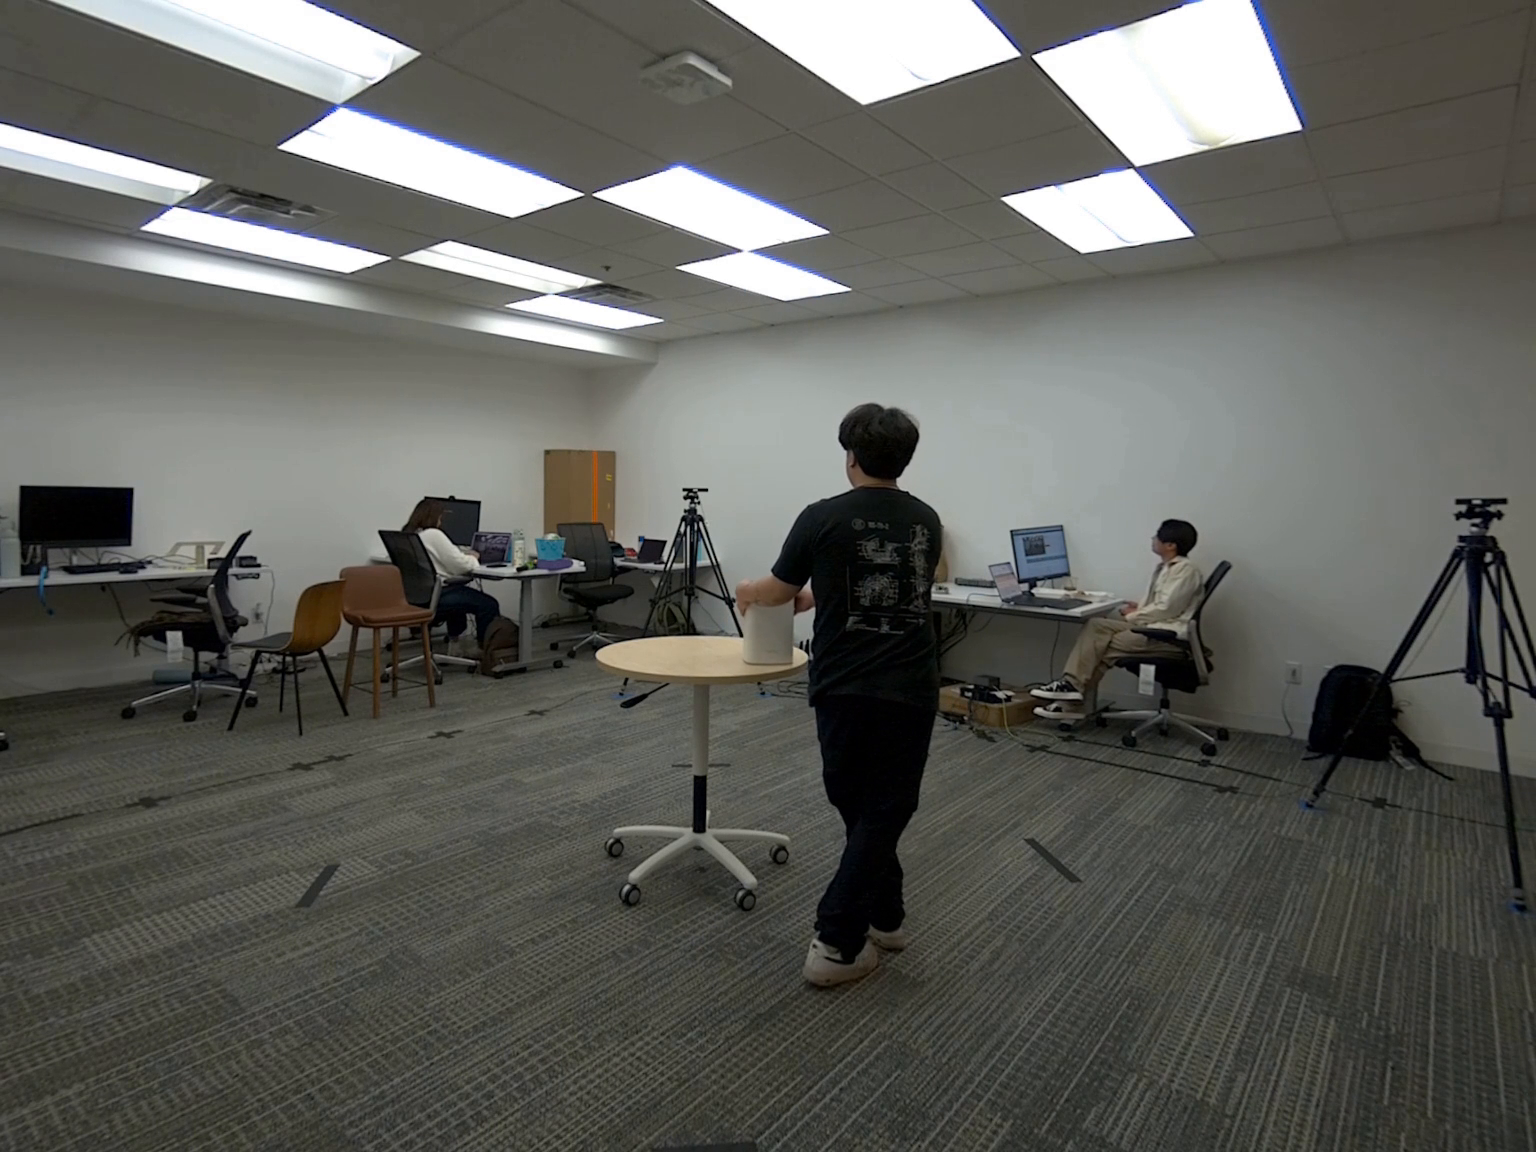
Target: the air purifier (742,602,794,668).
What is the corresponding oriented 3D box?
[{"bbox_3d":[-0.006,0.165,2.969,0.170,0.265,0.173,4,2,-7],"label":"air purifier"}]
